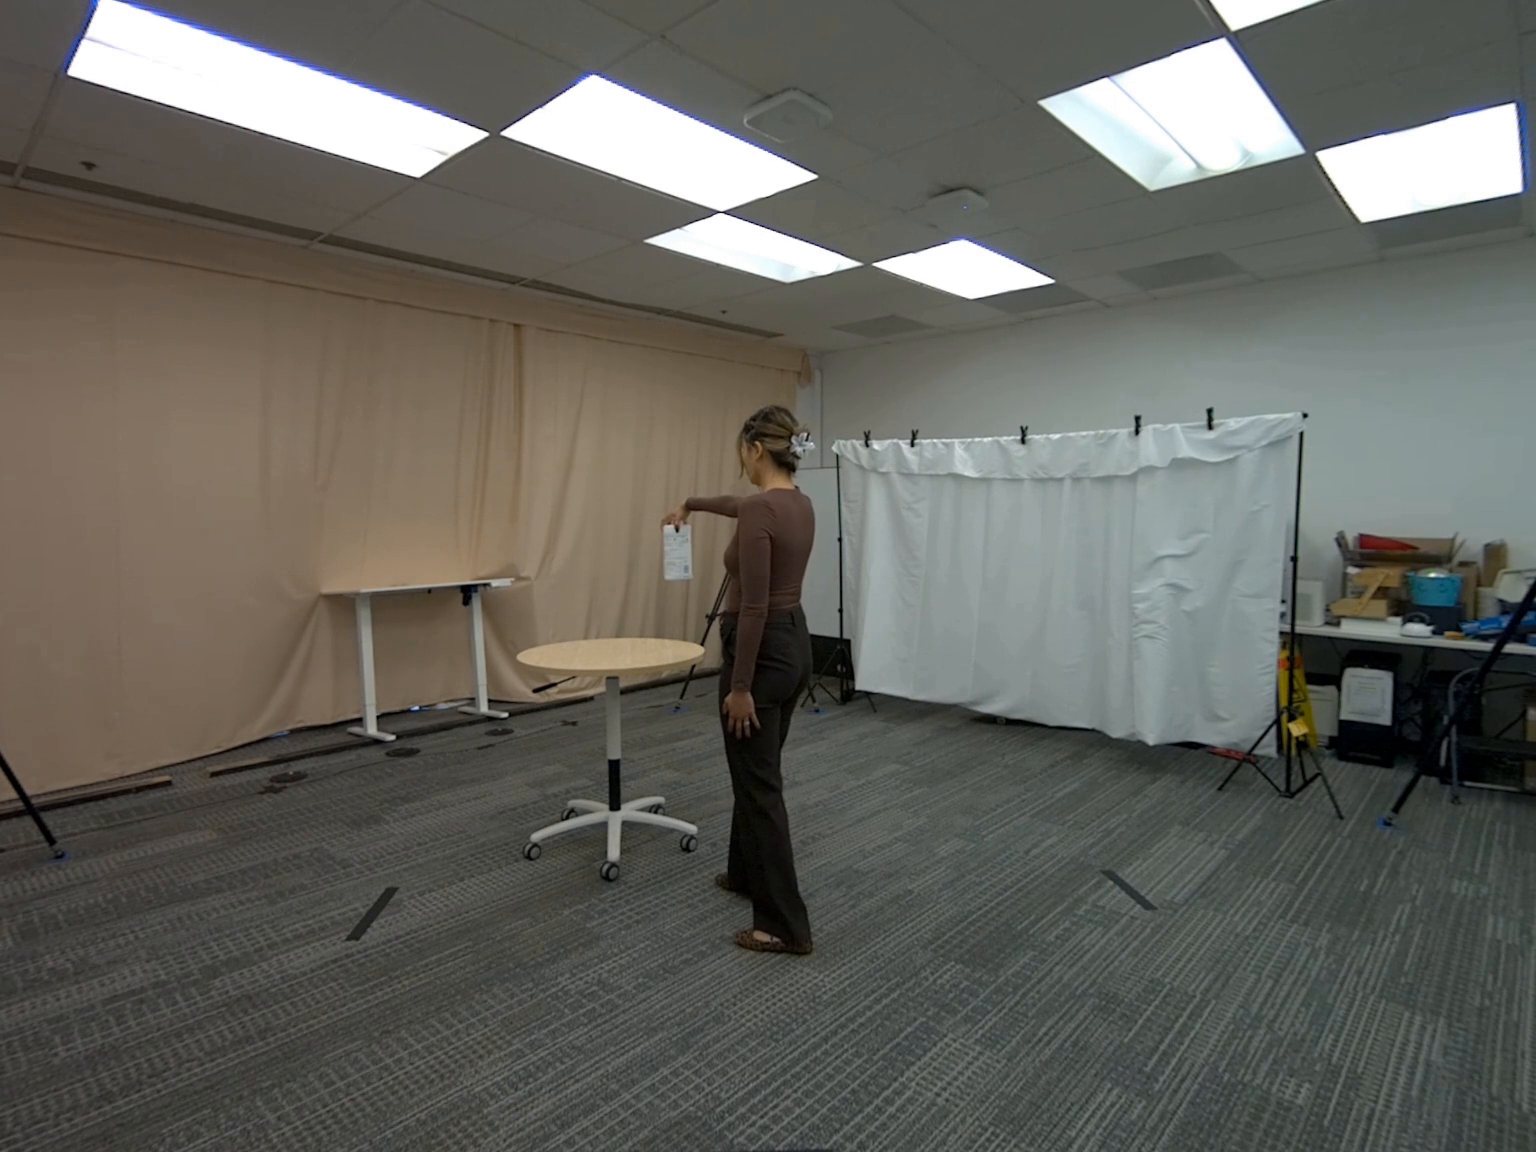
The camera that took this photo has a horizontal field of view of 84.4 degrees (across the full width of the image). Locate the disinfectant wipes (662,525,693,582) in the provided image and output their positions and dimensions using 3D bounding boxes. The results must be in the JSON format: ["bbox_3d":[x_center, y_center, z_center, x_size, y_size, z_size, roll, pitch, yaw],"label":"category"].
[{"bbox_3d":[-0.349,-0.092,3.290,0.118,0.217,0.118,0,2,-2],"label":"disinfectant wipes"}]
